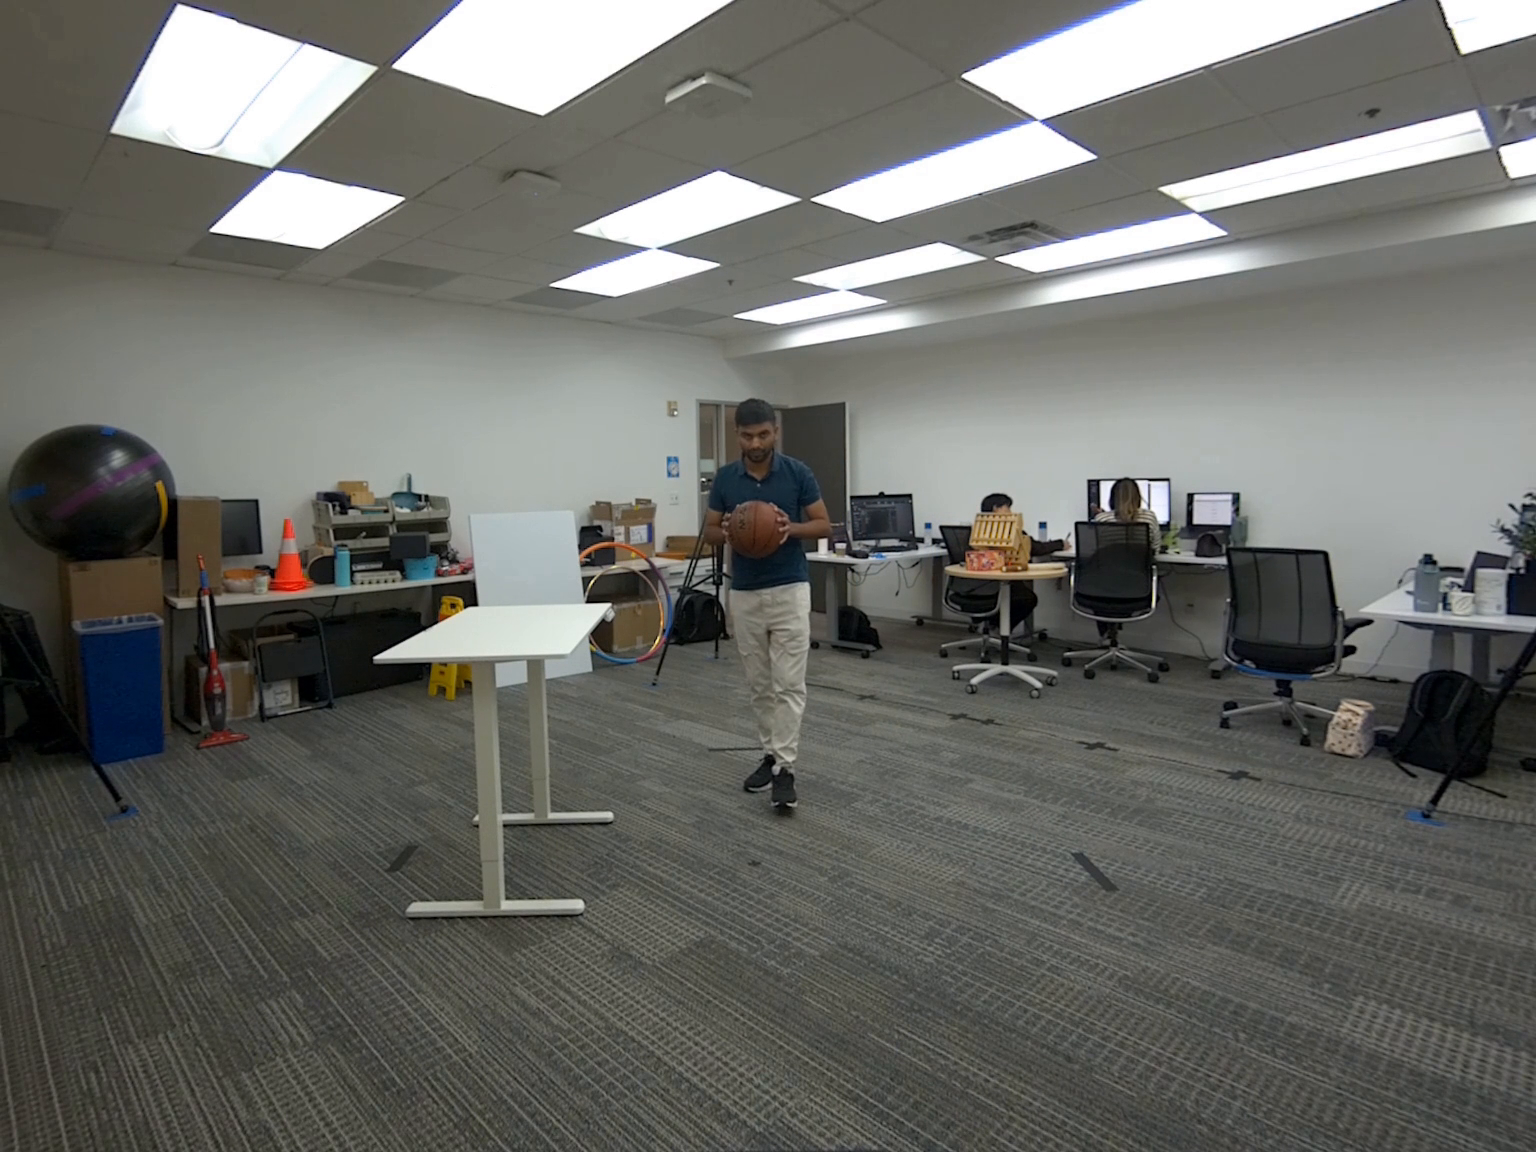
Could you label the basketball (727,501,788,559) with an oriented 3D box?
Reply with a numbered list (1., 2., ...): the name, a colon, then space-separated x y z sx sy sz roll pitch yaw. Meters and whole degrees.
1. basketball: -0.060 -0.192 3.546 0.236 0.235 0.237 -1 5 -2
